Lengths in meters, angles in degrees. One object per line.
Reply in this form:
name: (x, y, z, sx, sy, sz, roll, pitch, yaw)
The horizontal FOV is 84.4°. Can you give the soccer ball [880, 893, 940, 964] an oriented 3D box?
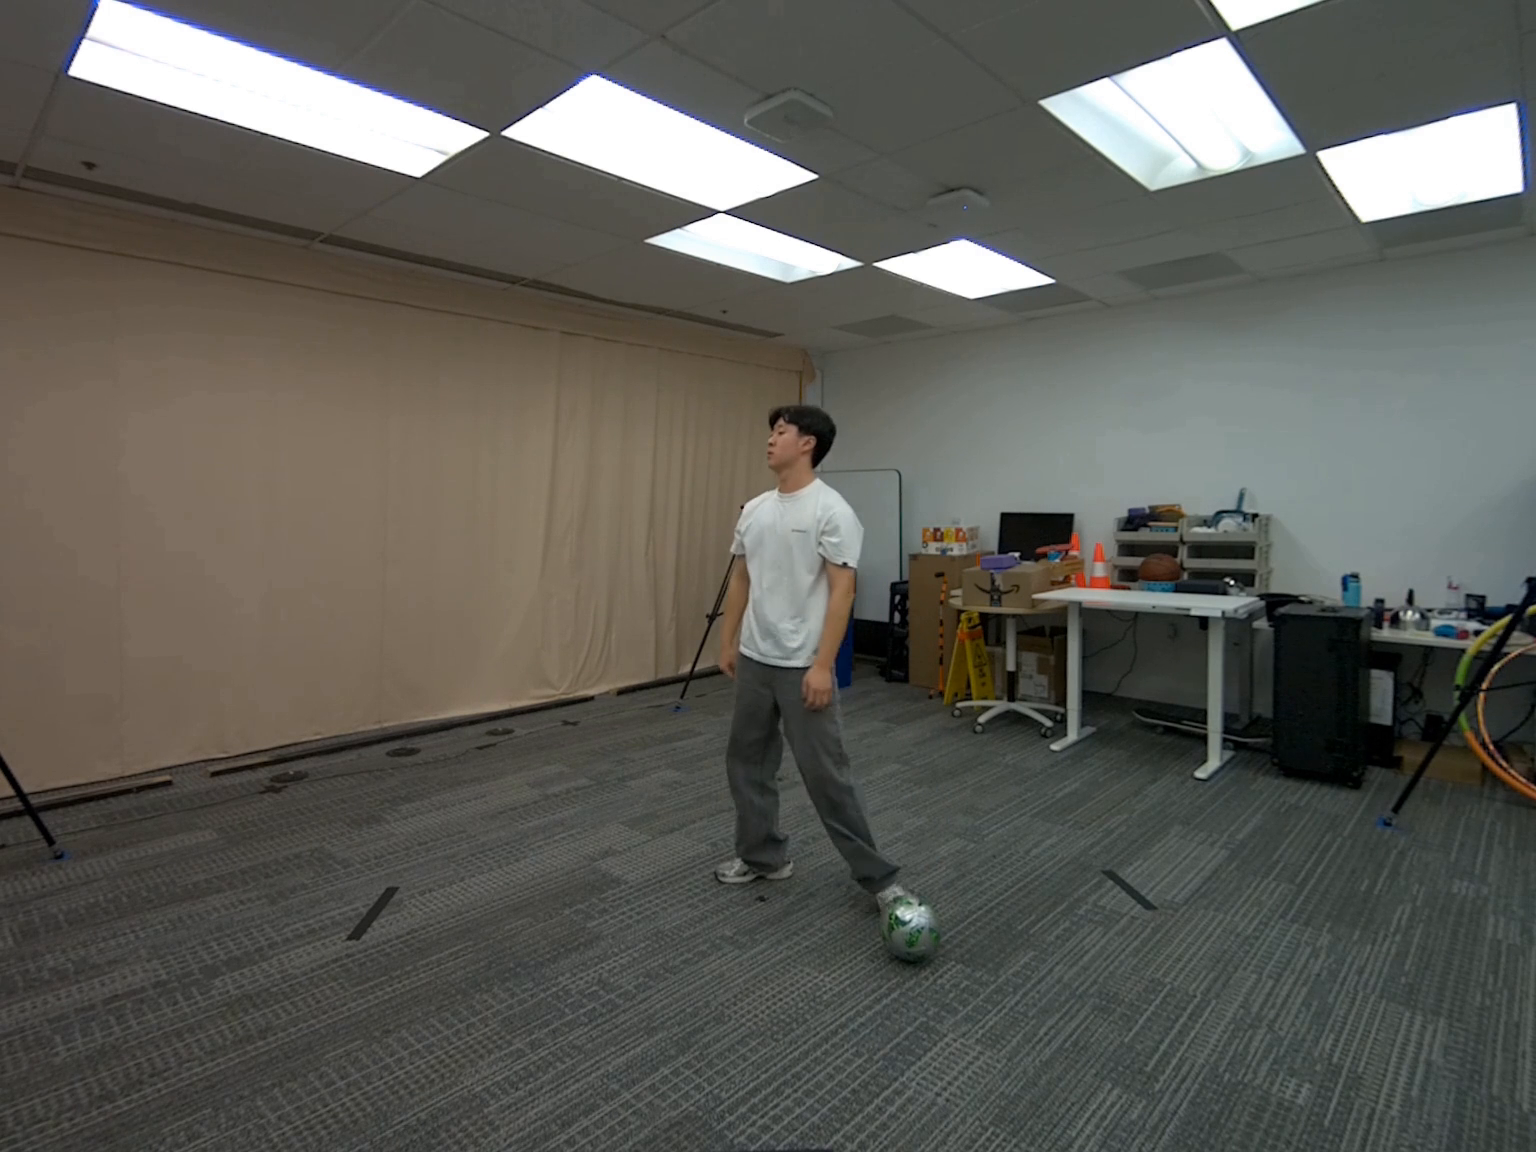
soccer ball: (0.436, 1.076, 2.590, 0.187, 0.187, 0.188, 0, 4, -2)
